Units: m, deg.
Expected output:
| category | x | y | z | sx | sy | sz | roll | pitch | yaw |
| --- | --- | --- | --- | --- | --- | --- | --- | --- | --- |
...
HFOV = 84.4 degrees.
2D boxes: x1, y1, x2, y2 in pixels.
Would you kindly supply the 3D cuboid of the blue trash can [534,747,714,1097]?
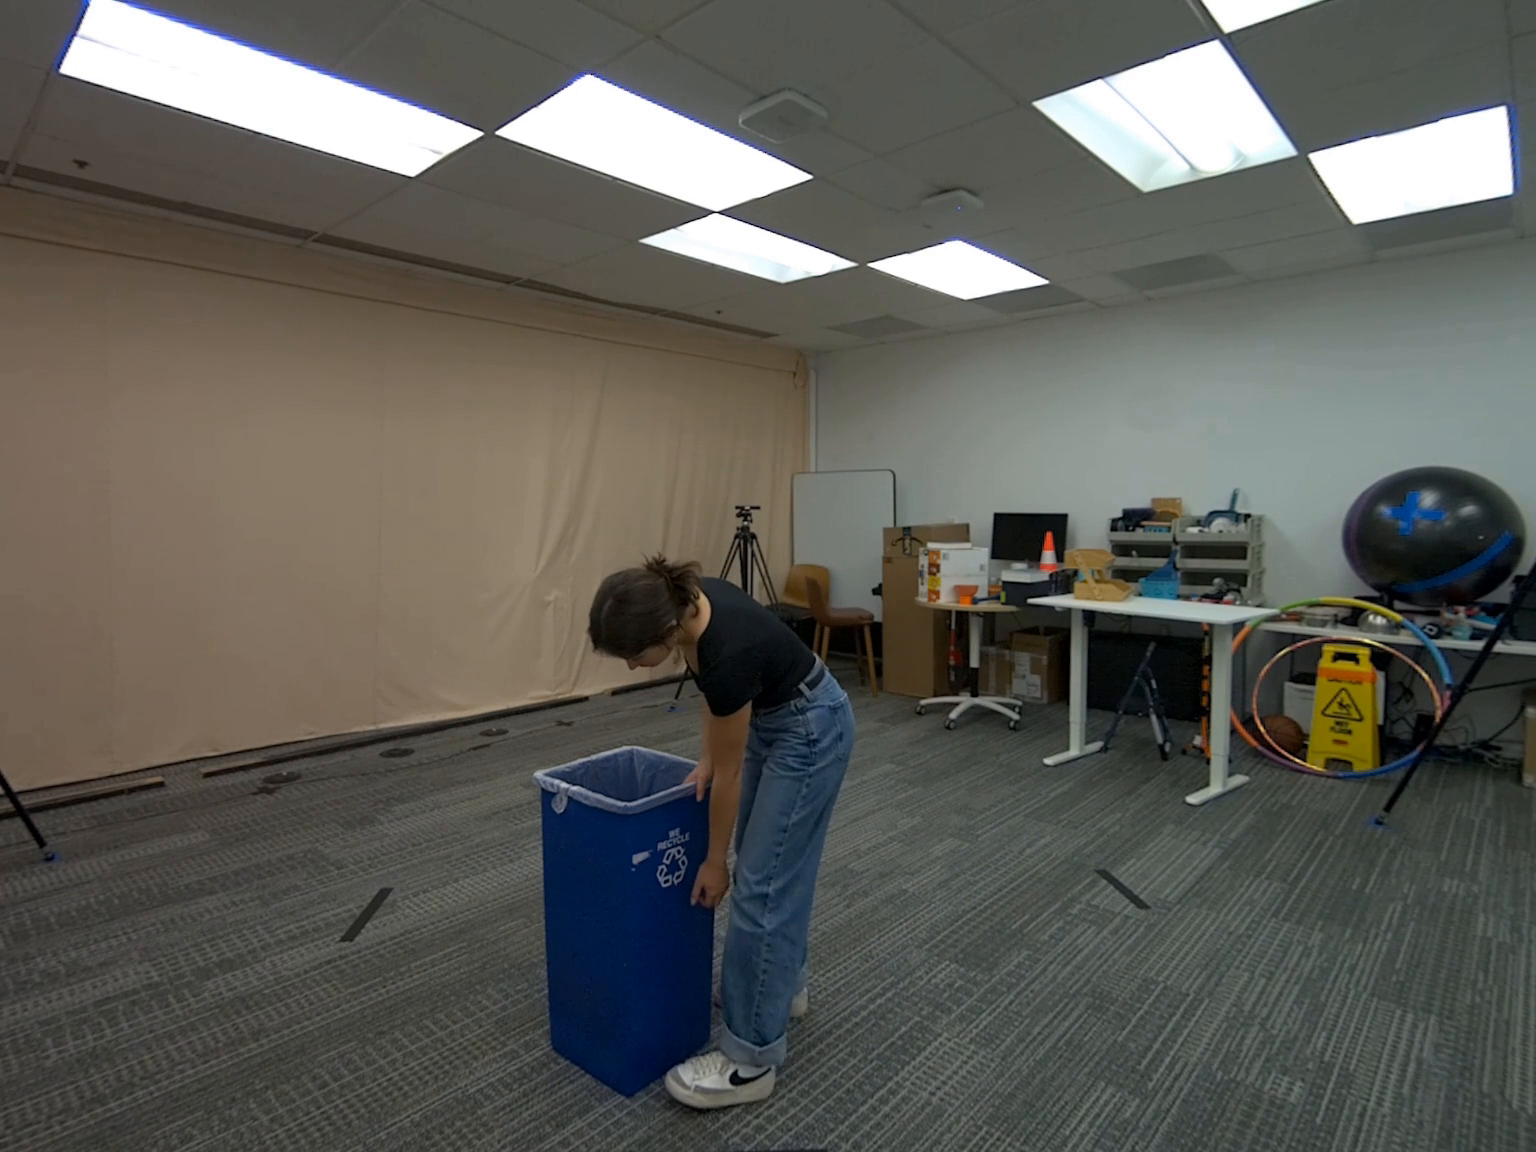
| category | x | y | z | sx | sy | sz | roll | pitch | yaw |
| --- | --- | --- | --- | --- | --- | --- | --- | --- | --- |
| blue trash can | -0.365 | 0.860 | 2.170 | 0.386 | 0.712 | 0.366 | 3 | 4 | 39 |
